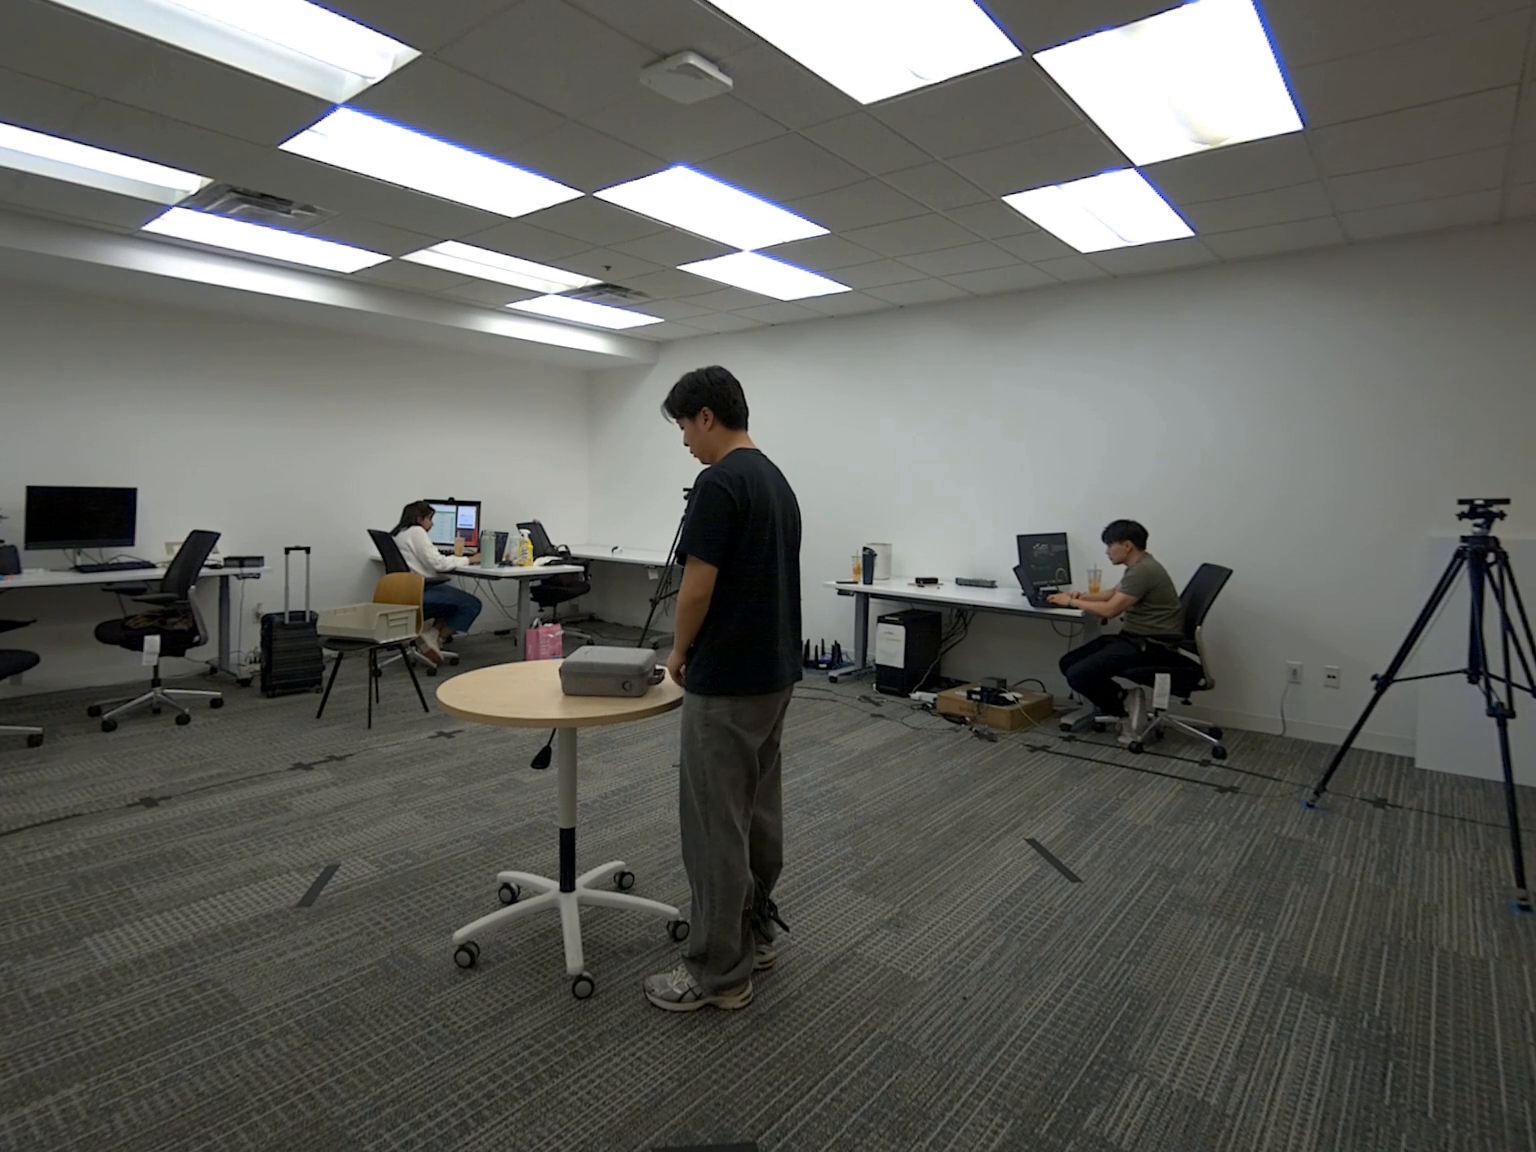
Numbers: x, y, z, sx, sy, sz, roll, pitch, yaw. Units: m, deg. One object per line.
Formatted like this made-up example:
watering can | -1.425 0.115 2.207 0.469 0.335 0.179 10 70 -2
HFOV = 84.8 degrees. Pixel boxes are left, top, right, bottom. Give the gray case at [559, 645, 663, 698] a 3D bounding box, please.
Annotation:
gray case | -0.471 0.280 2.569 0.288 0.103 0.263 1 4 1
